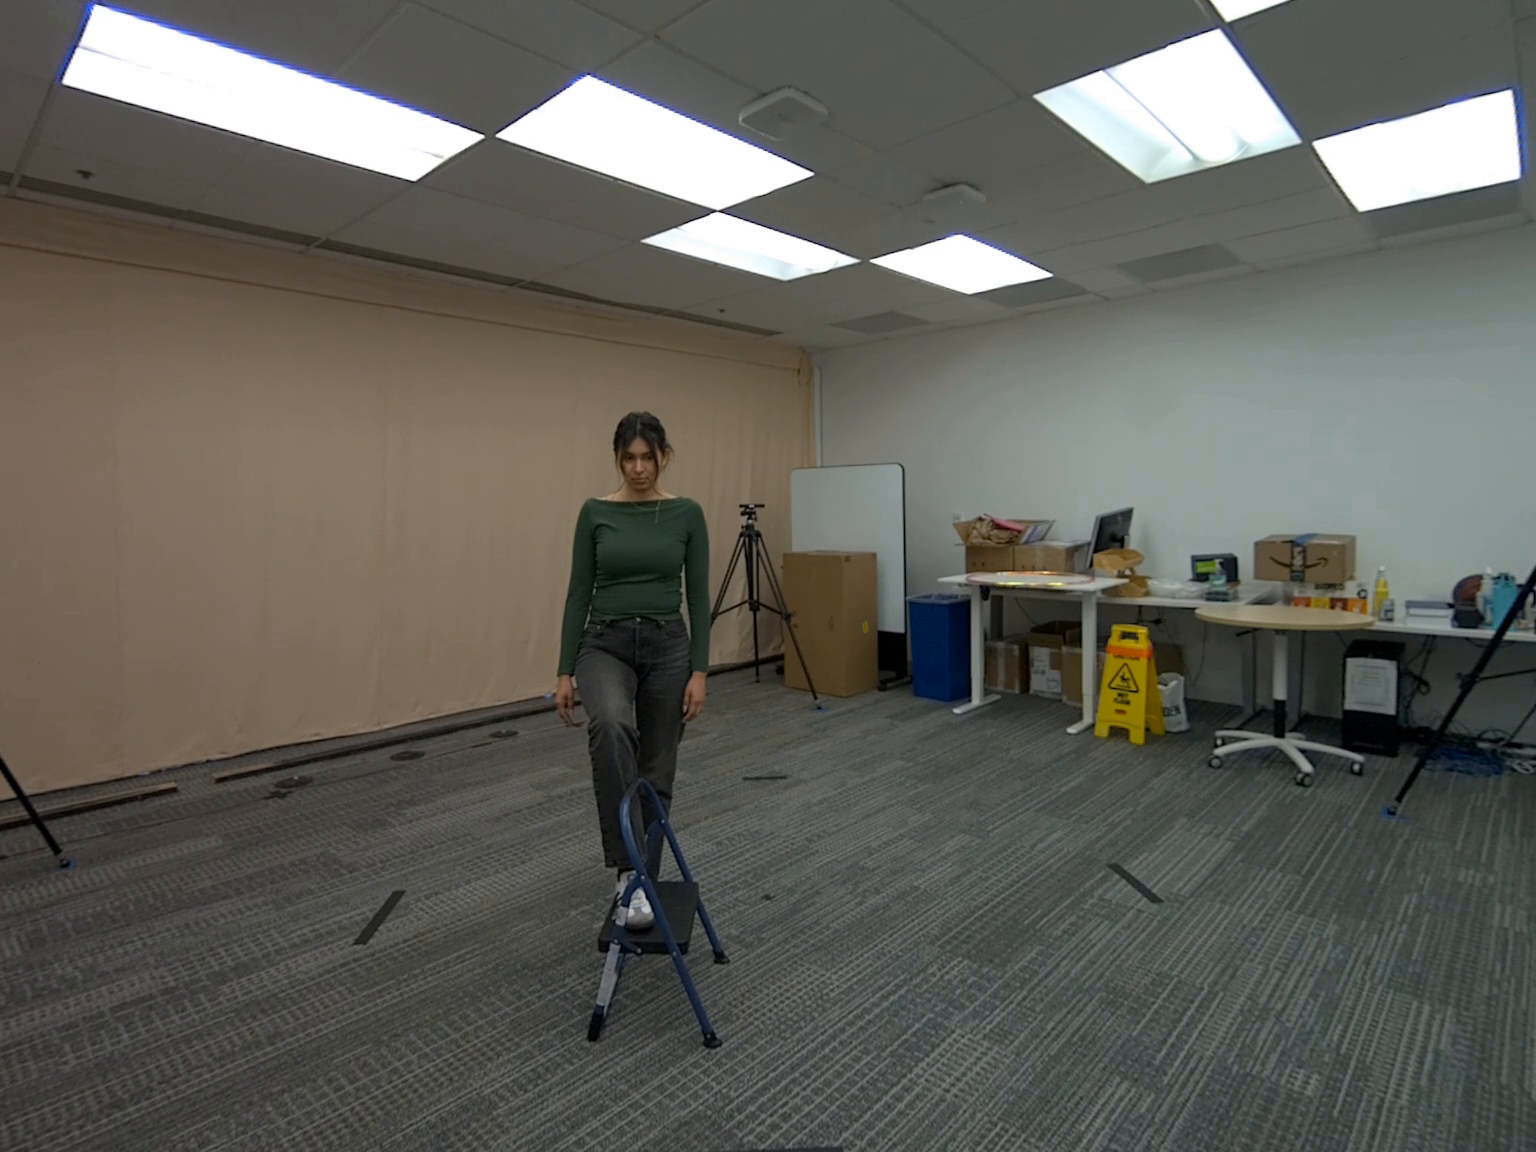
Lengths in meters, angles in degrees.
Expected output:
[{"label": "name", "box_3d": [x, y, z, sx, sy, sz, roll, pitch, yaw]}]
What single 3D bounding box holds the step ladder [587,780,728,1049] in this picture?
[{"label": "step ladder", "box_3d": [-0.297, 0.902, 2.368, 0.350, 0.605, 0.430, 0, 4, 1]}]
